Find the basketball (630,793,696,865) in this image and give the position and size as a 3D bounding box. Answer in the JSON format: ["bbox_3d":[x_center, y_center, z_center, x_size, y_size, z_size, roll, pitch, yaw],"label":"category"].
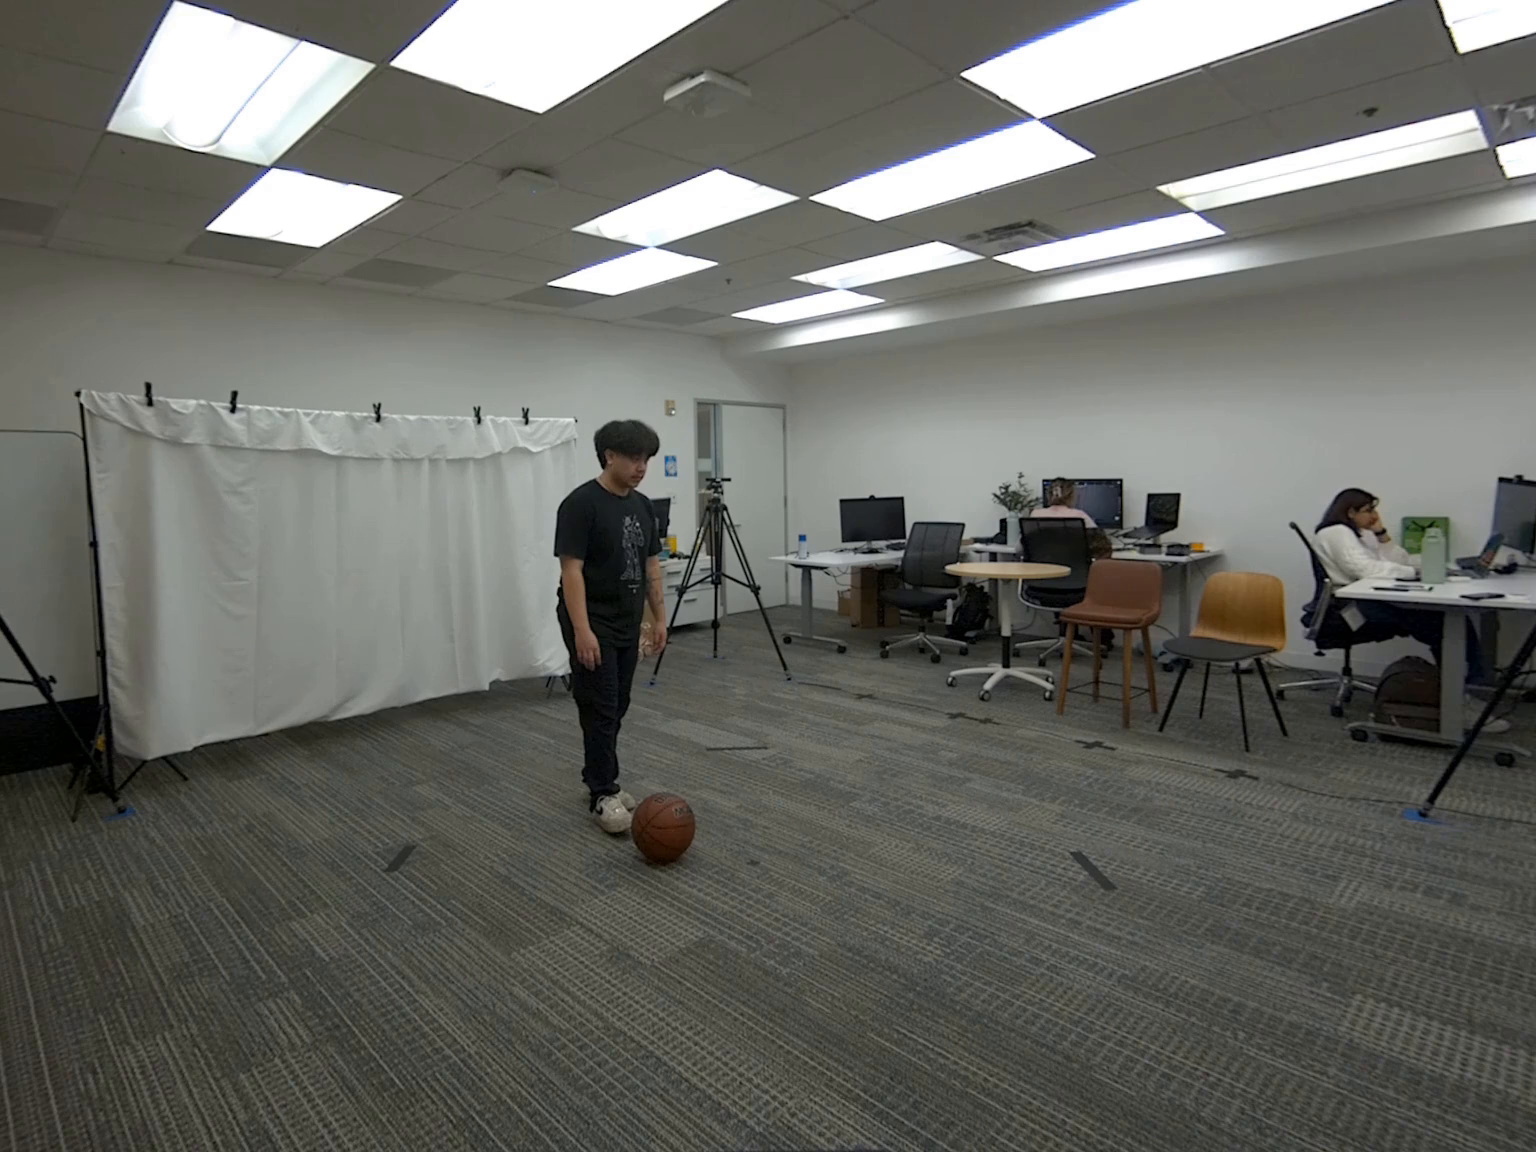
[{"bbox_3d":[-0.380,0.922,3.151,0.236,0.235,0.237,-1,5,-2],"label":"basketball"}]
